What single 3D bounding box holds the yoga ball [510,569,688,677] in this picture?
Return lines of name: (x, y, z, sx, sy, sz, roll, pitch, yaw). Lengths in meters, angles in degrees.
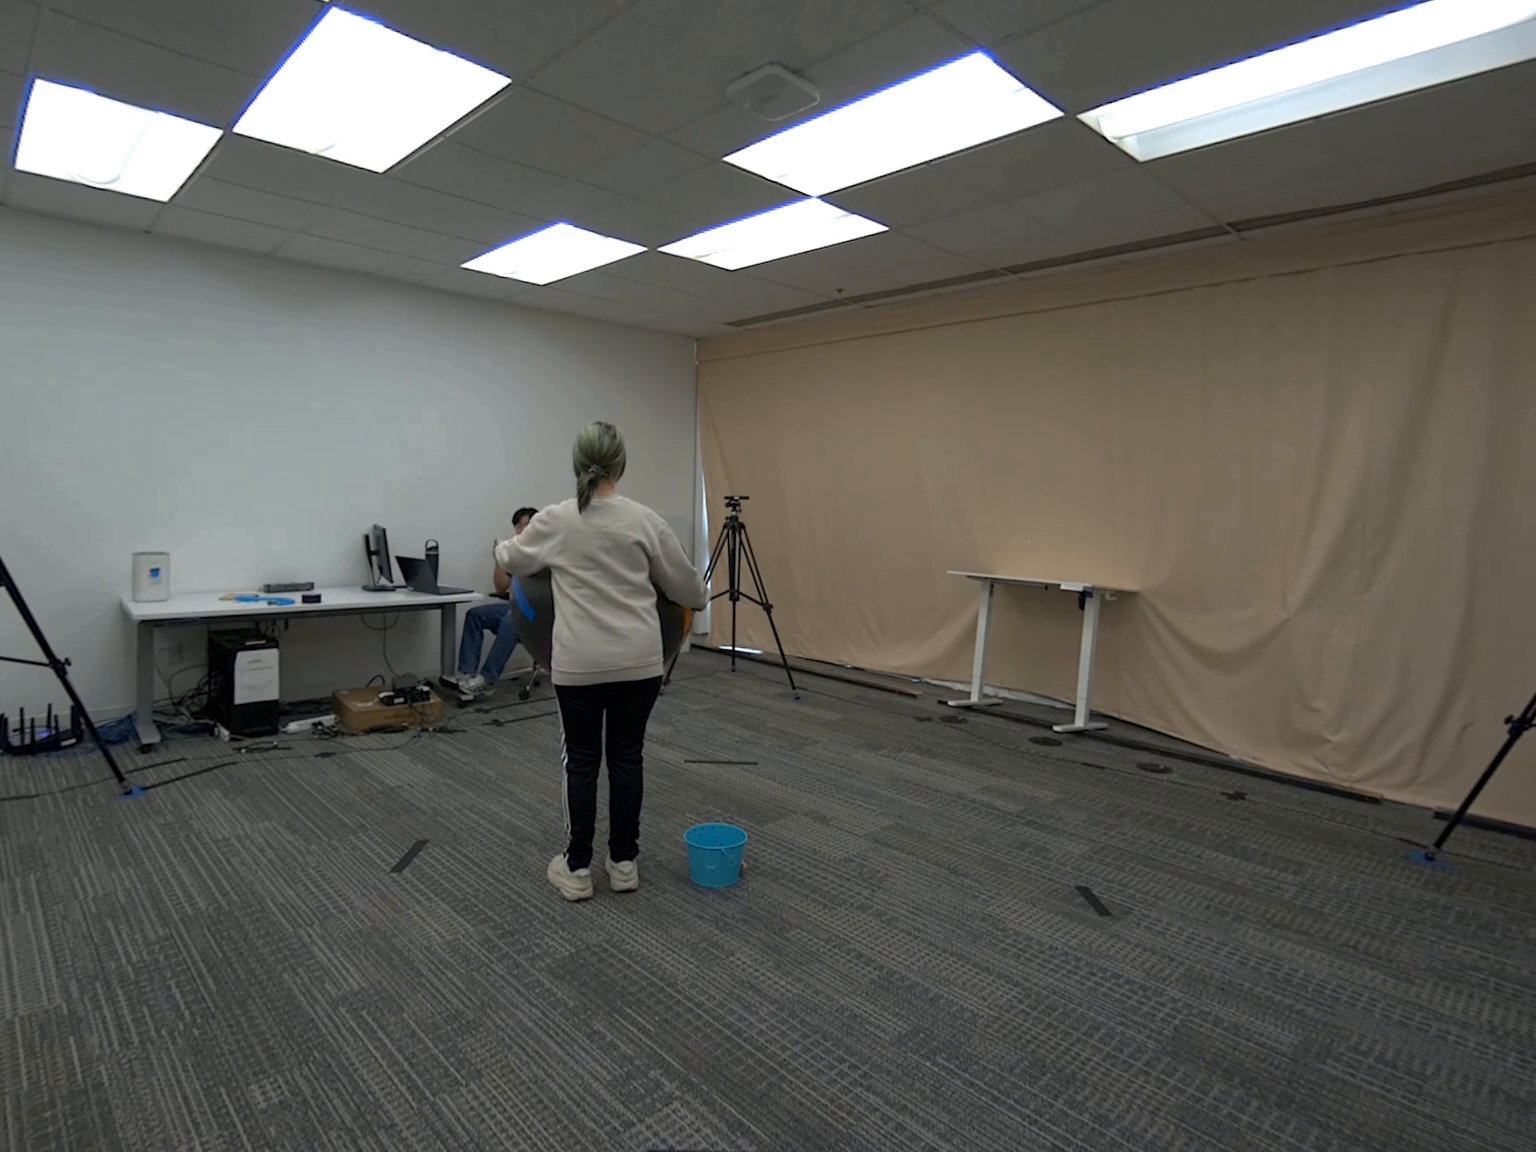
yoga ball: (-0.680, 0.083, 3.455, 0.757, 0.756, 0.761, 1, 4, -1)
